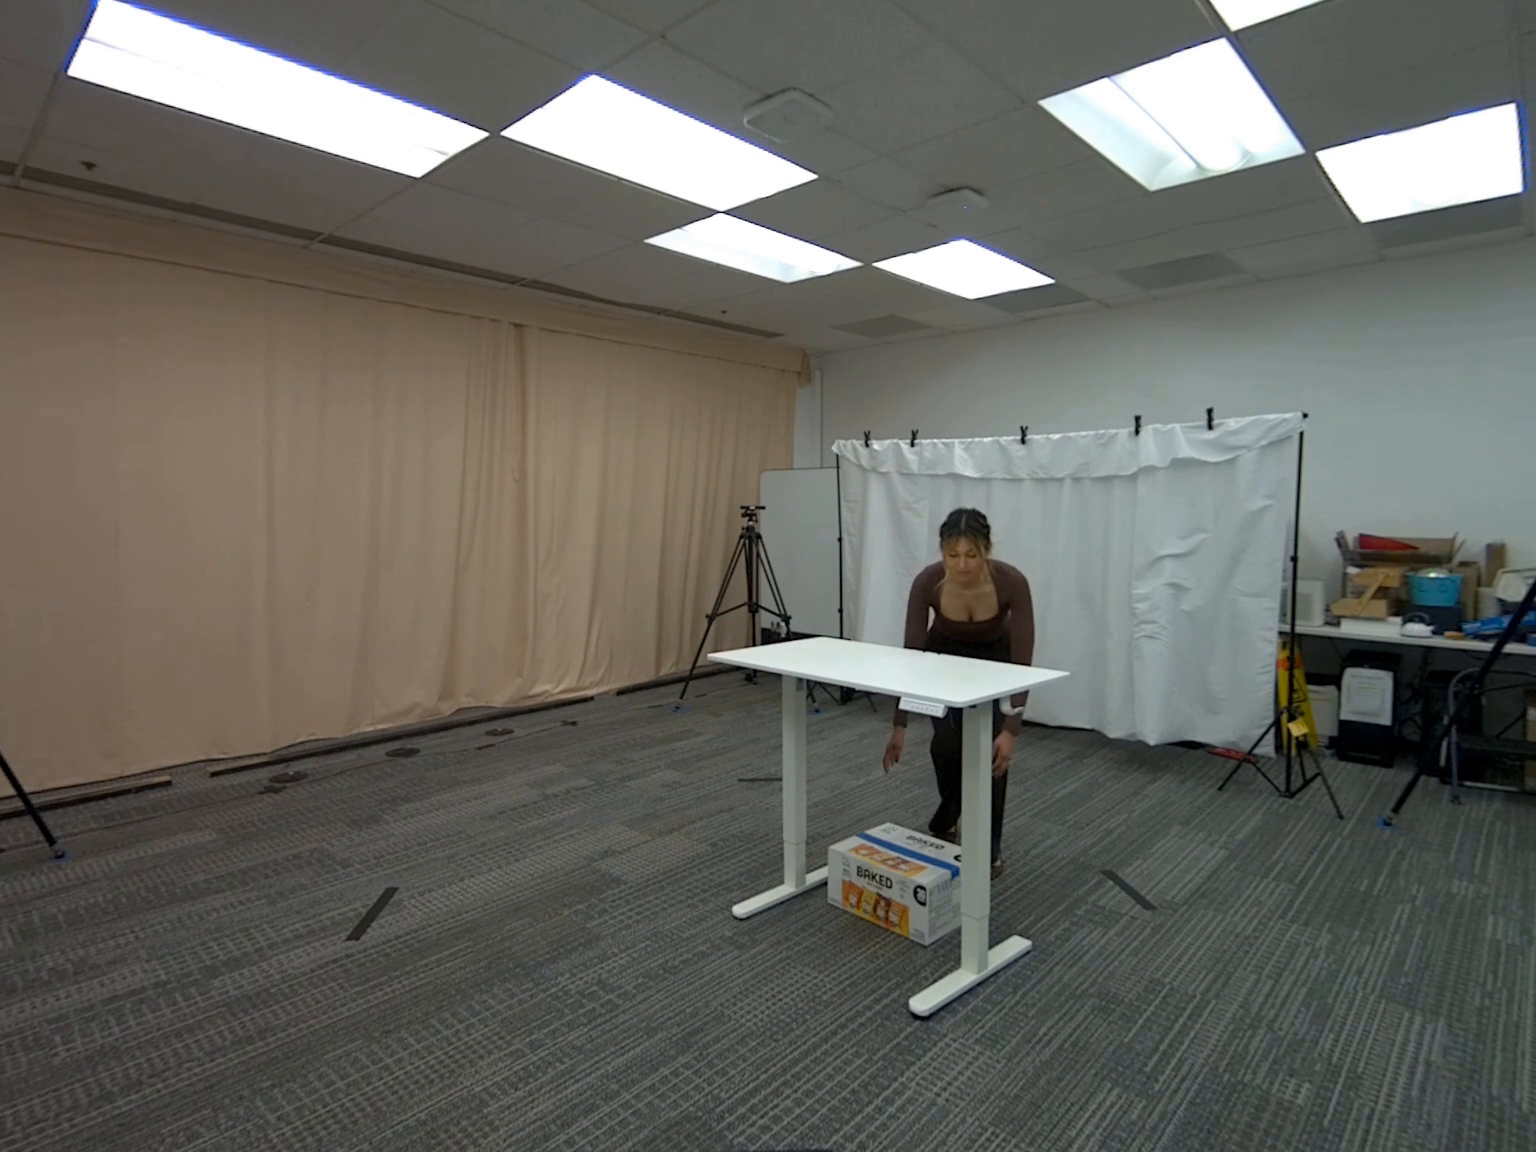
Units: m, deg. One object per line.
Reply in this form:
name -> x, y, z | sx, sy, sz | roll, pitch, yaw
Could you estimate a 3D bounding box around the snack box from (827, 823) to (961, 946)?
snack box -> 0.481, 1.049, 2.902 | 0.330, 0.205, 0.419 | -5, 6, -44
